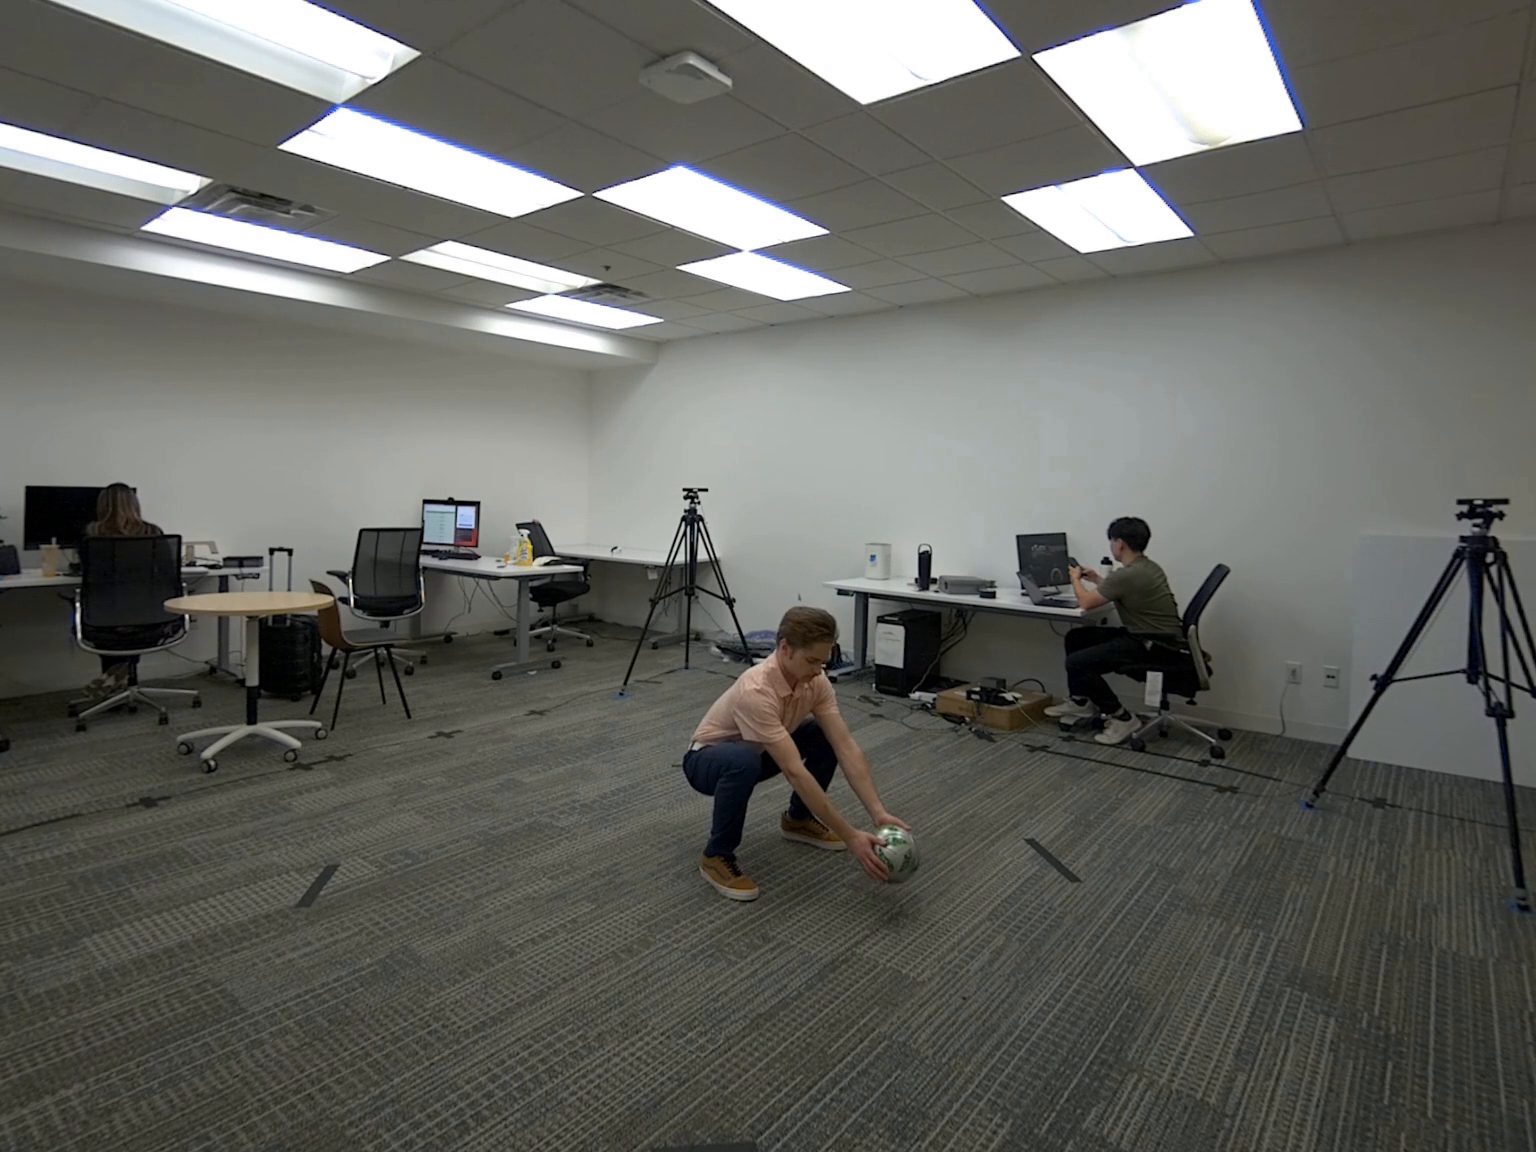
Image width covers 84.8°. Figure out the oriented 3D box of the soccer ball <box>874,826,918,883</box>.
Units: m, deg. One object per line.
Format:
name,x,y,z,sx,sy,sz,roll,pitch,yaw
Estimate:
soccer ball,0.406,0.925,2.845,0.187,0.187,0.188,1,4,-2
